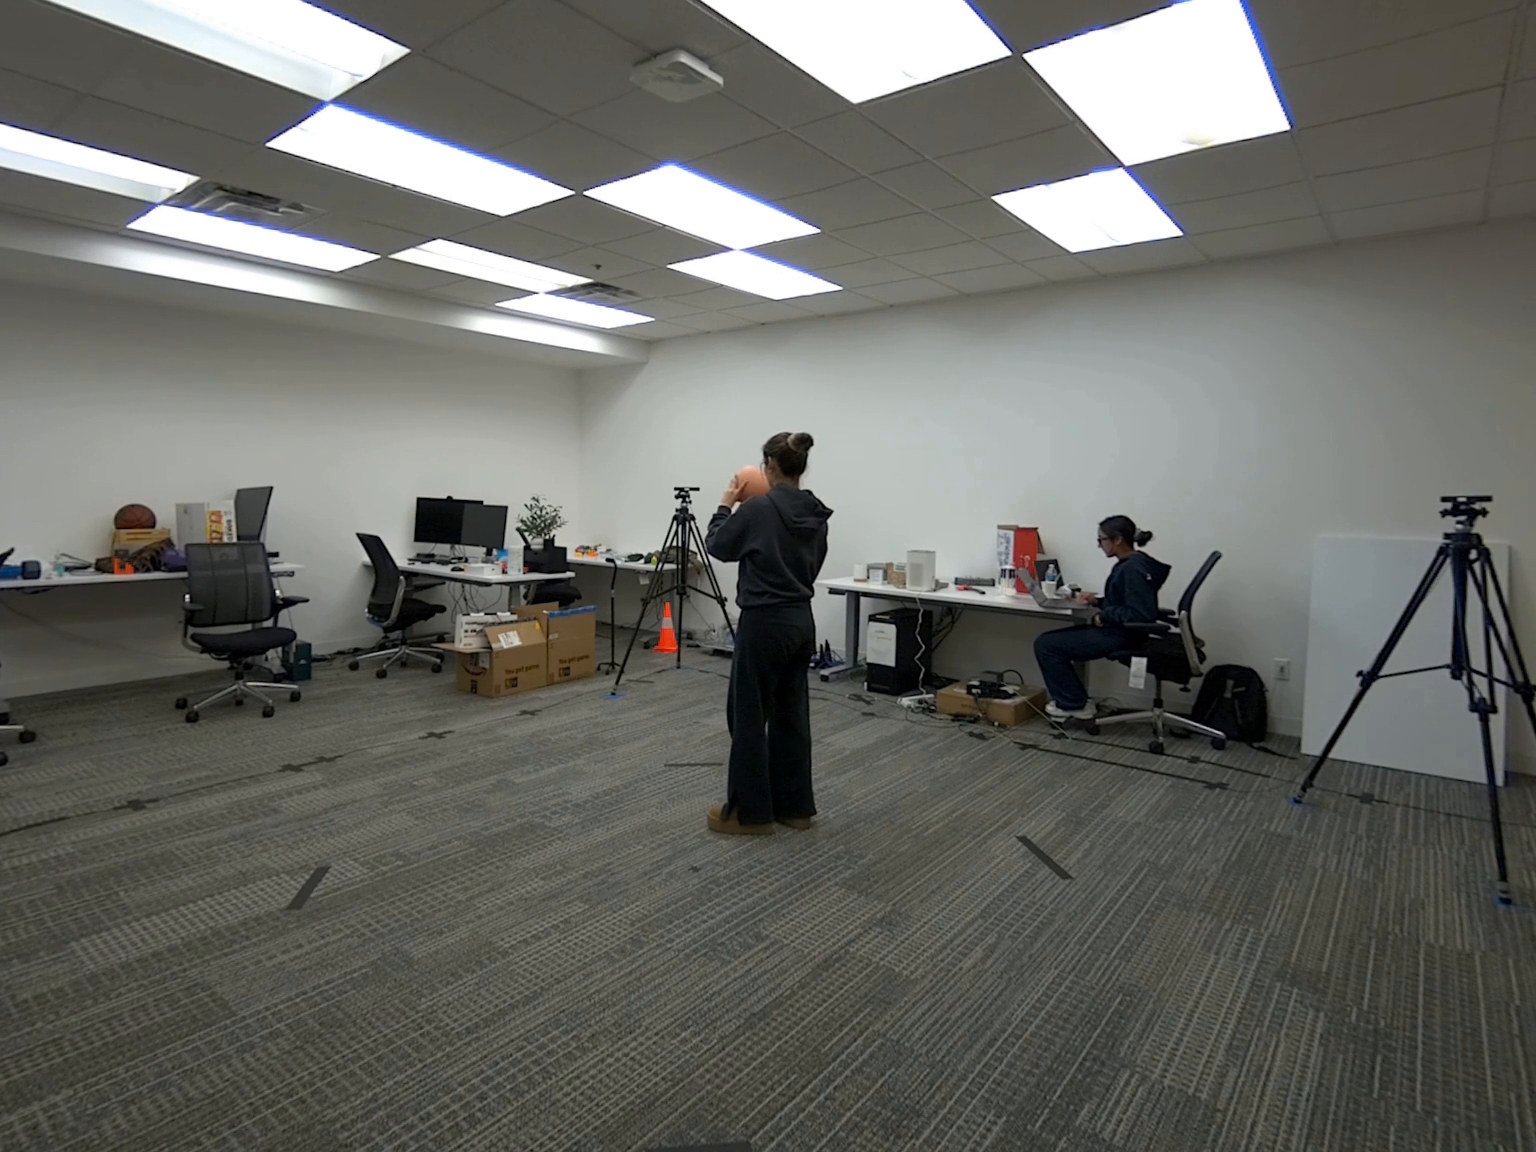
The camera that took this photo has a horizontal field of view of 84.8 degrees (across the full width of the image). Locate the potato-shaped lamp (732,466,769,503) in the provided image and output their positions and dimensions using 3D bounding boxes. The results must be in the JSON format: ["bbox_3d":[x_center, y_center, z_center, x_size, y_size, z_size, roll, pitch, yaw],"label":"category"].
[{"bbox_3d":[-0.059,-0.398,3.765,0.199,0.163,0.172,17,12,3],"label":"potato-shaped lamp"}]
